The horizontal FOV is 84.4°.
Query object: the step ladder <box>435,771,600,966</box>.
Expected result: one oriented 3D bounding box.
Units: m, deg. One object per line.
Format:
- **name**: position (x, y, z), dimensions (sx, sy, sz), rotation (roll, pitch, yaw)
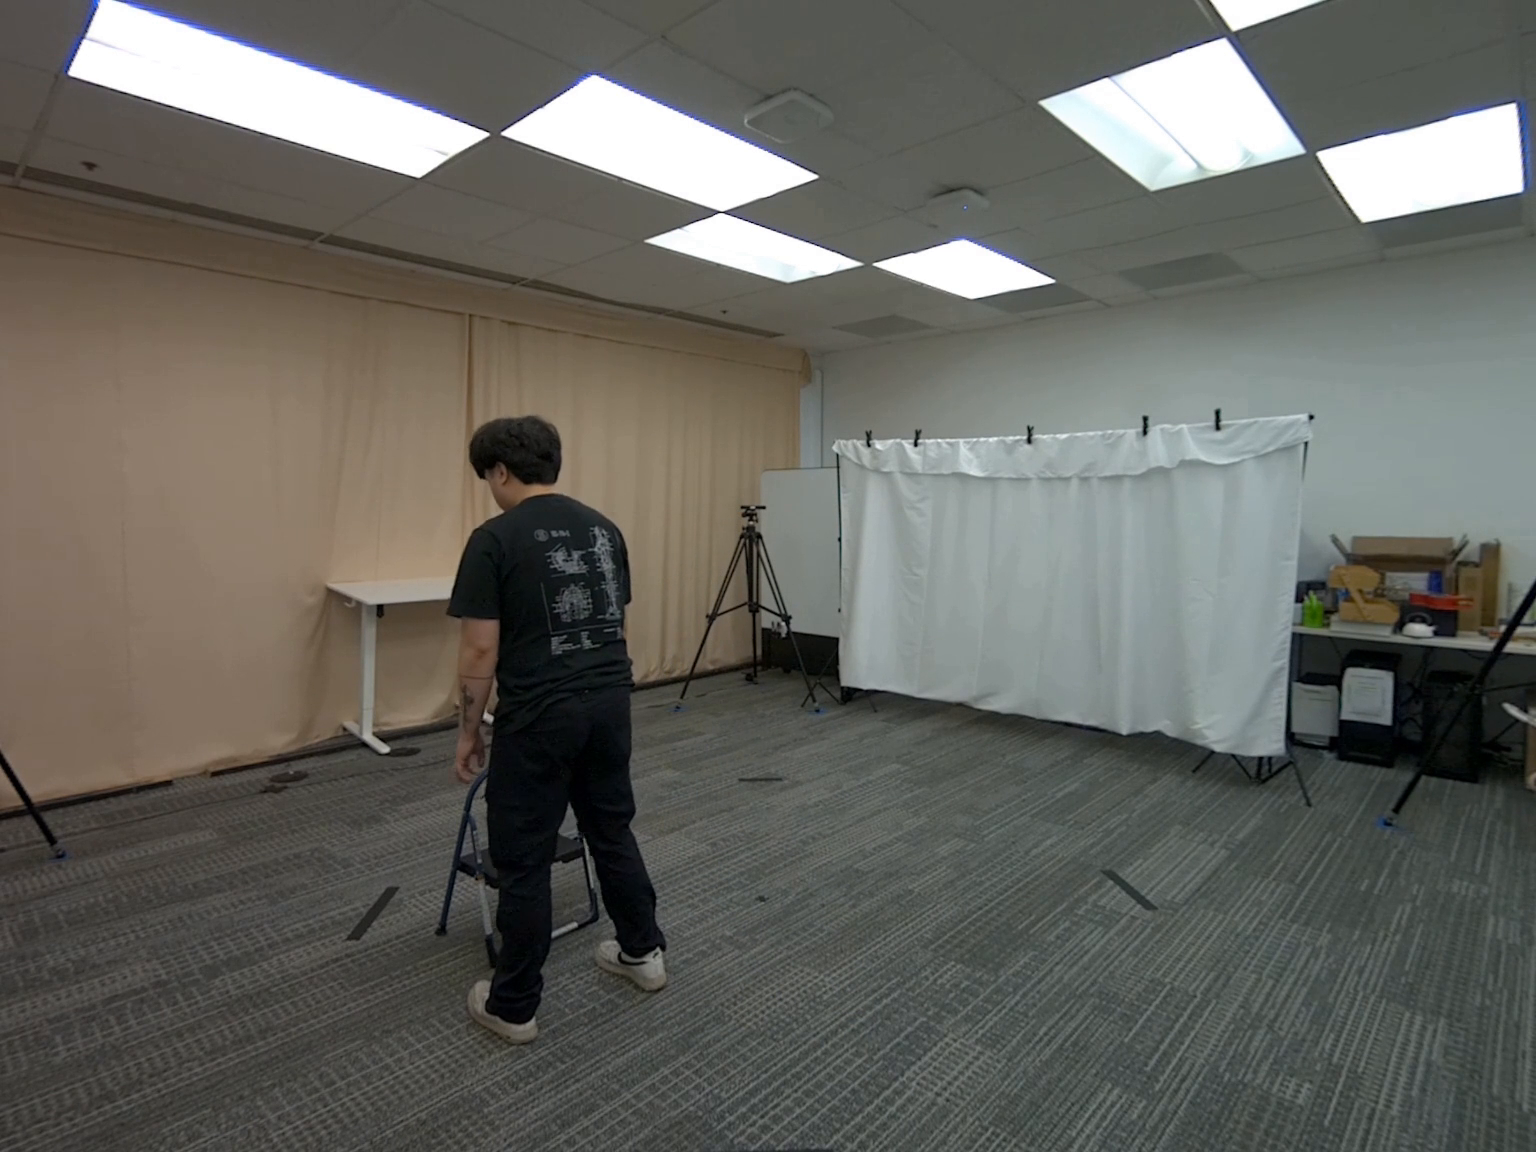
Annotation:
- **step ladder**: position (-0.834, 0.866, 2.786), dimensions (0.360, 0.605, 0.418), rotation (1, 4, 40)
